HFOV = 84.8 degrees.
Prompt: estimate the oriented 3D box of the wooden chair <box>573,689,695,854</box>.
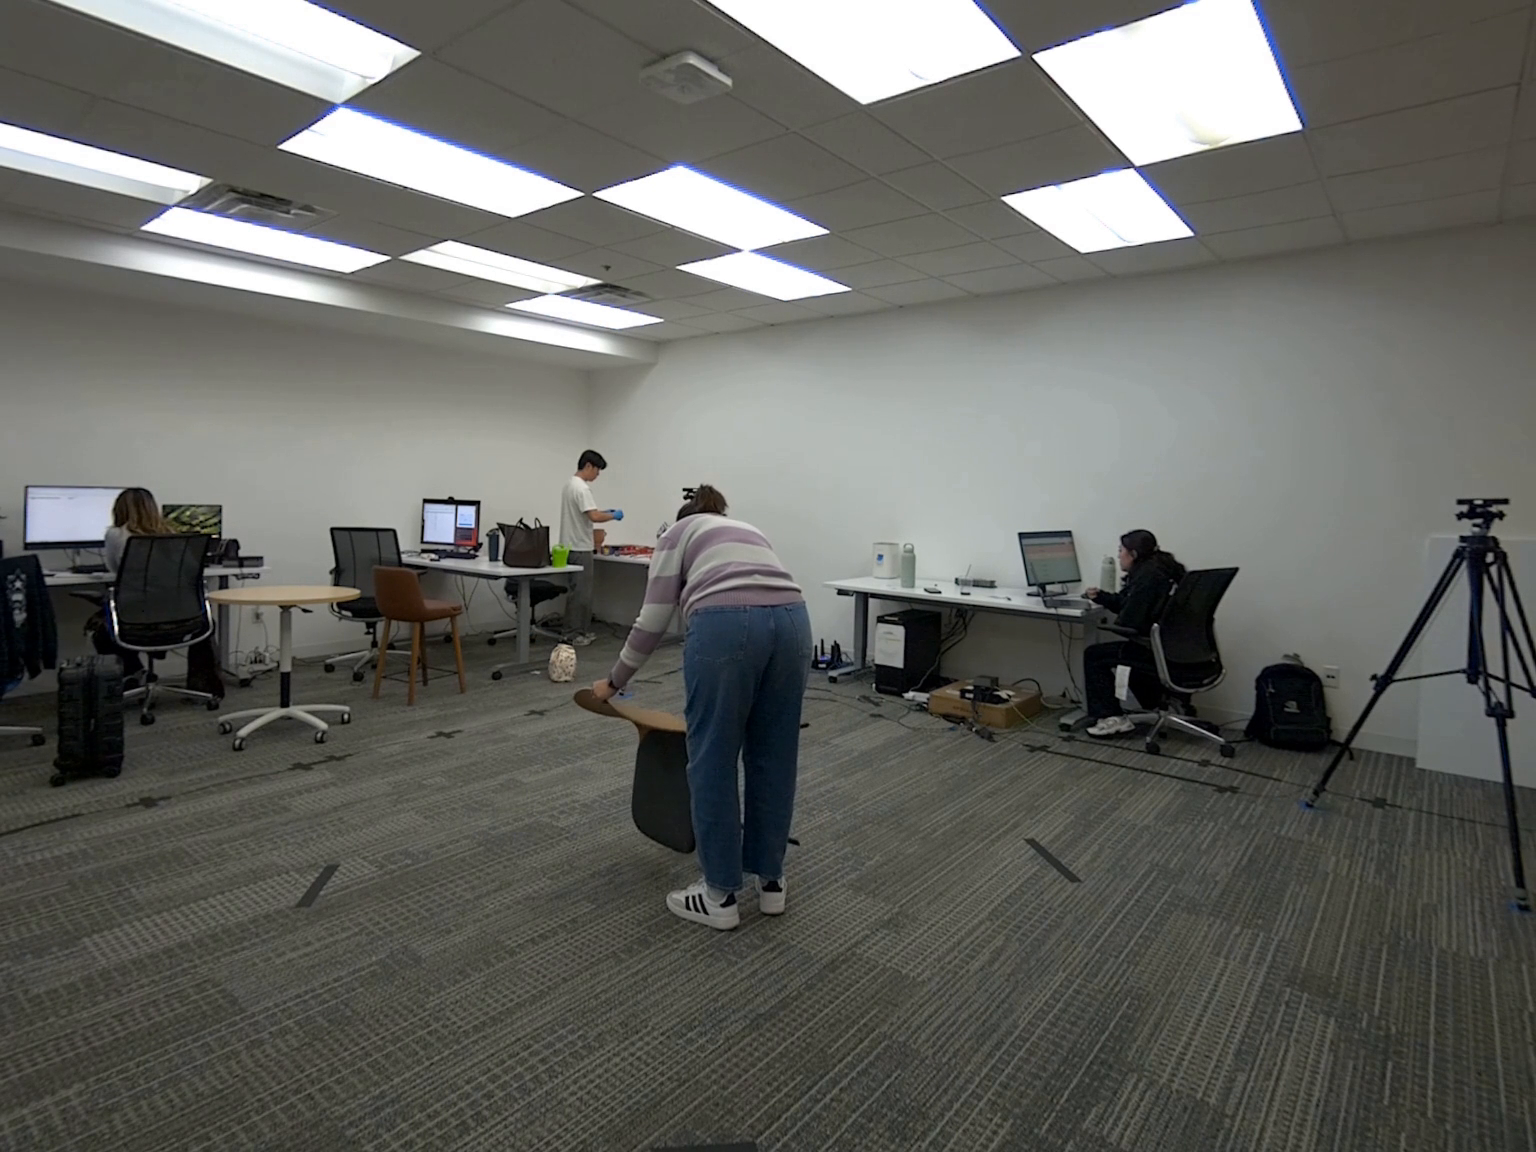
[{"bbox_3d":[-0.345,0.744,3.193,0.845,0.527,0.492,16,-12,-37],"label":"wooden chair"}]
